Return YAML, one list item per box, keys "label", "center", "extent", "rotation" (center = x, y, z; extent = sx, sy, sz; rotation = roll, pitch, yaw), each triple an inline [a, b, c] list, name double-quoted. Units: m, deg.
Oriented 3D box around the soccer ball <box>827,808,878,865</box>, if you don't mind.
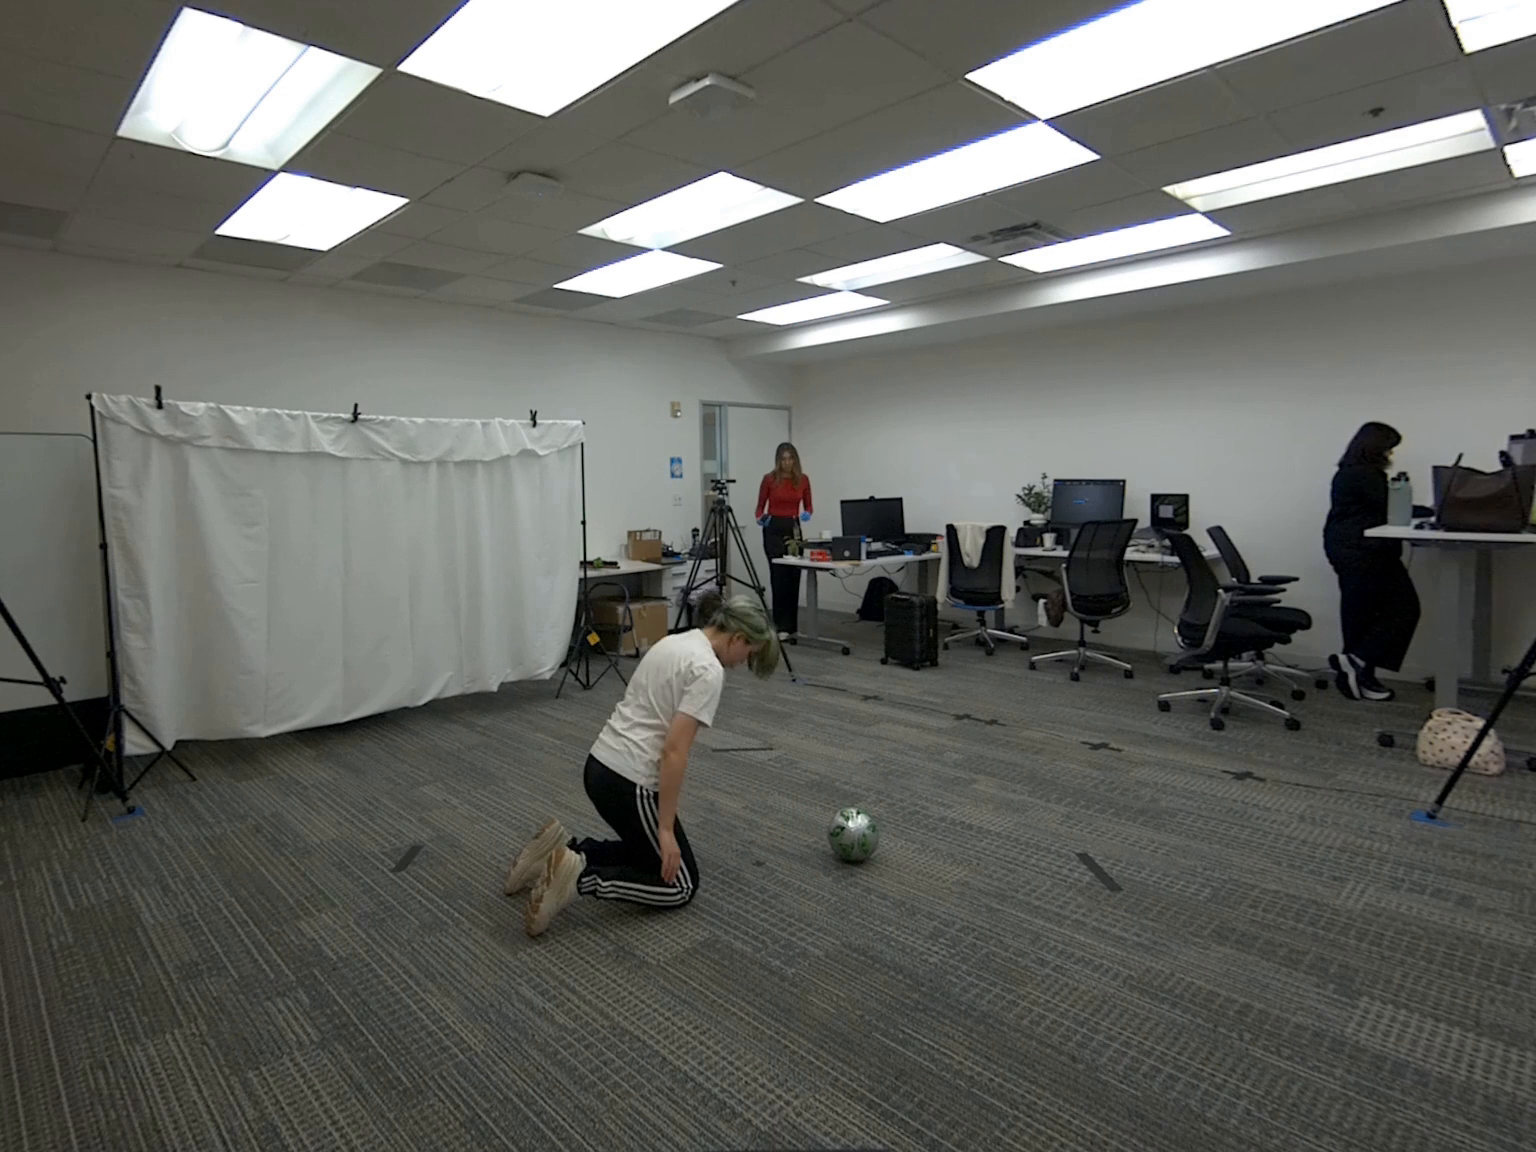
- label: "soccer ball"
  center: [0.311, 0.942, 3.123]
  extent: [0.187, 0.187, 0.188]
  rotation: [-1, 5, -2]
